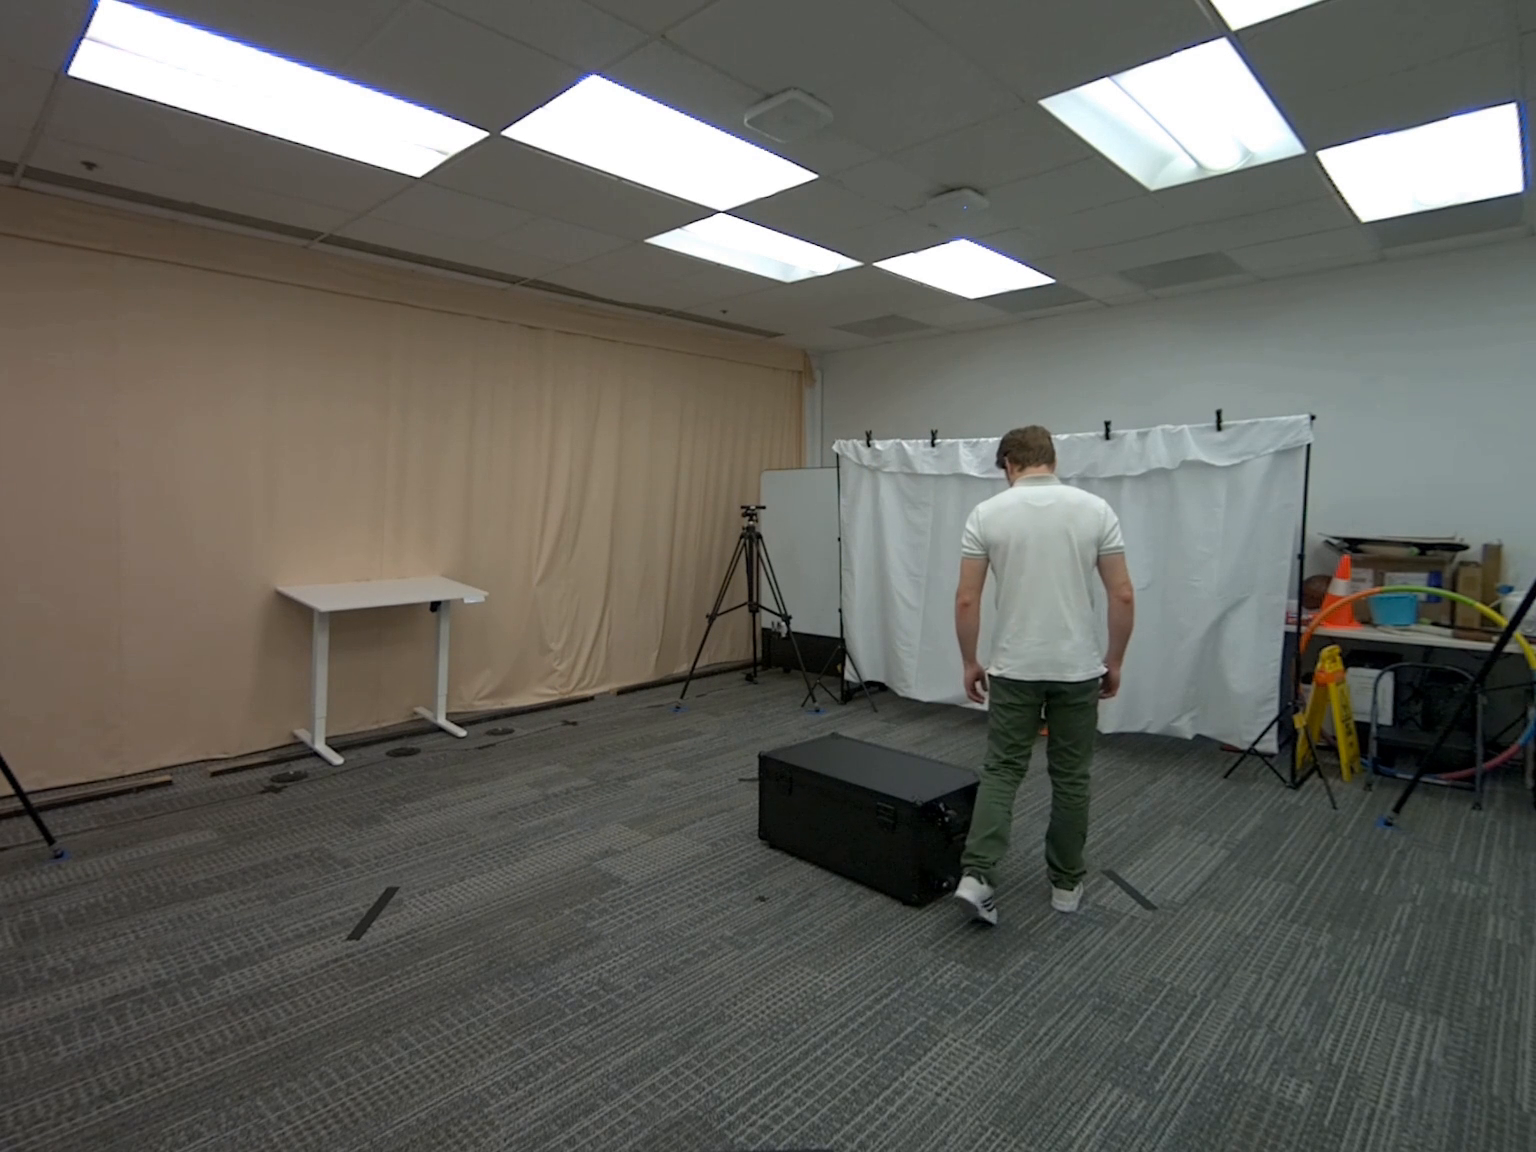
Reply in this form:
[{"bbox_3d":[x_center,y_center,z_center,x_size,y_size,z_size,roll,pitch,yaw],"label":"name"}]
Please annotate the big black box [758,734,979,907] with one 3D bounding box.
[{"bbox_3d":[0.428,0.925,3.296,0.505,0.395,0.890,-4,6,-44],"label":"big black box"}]
